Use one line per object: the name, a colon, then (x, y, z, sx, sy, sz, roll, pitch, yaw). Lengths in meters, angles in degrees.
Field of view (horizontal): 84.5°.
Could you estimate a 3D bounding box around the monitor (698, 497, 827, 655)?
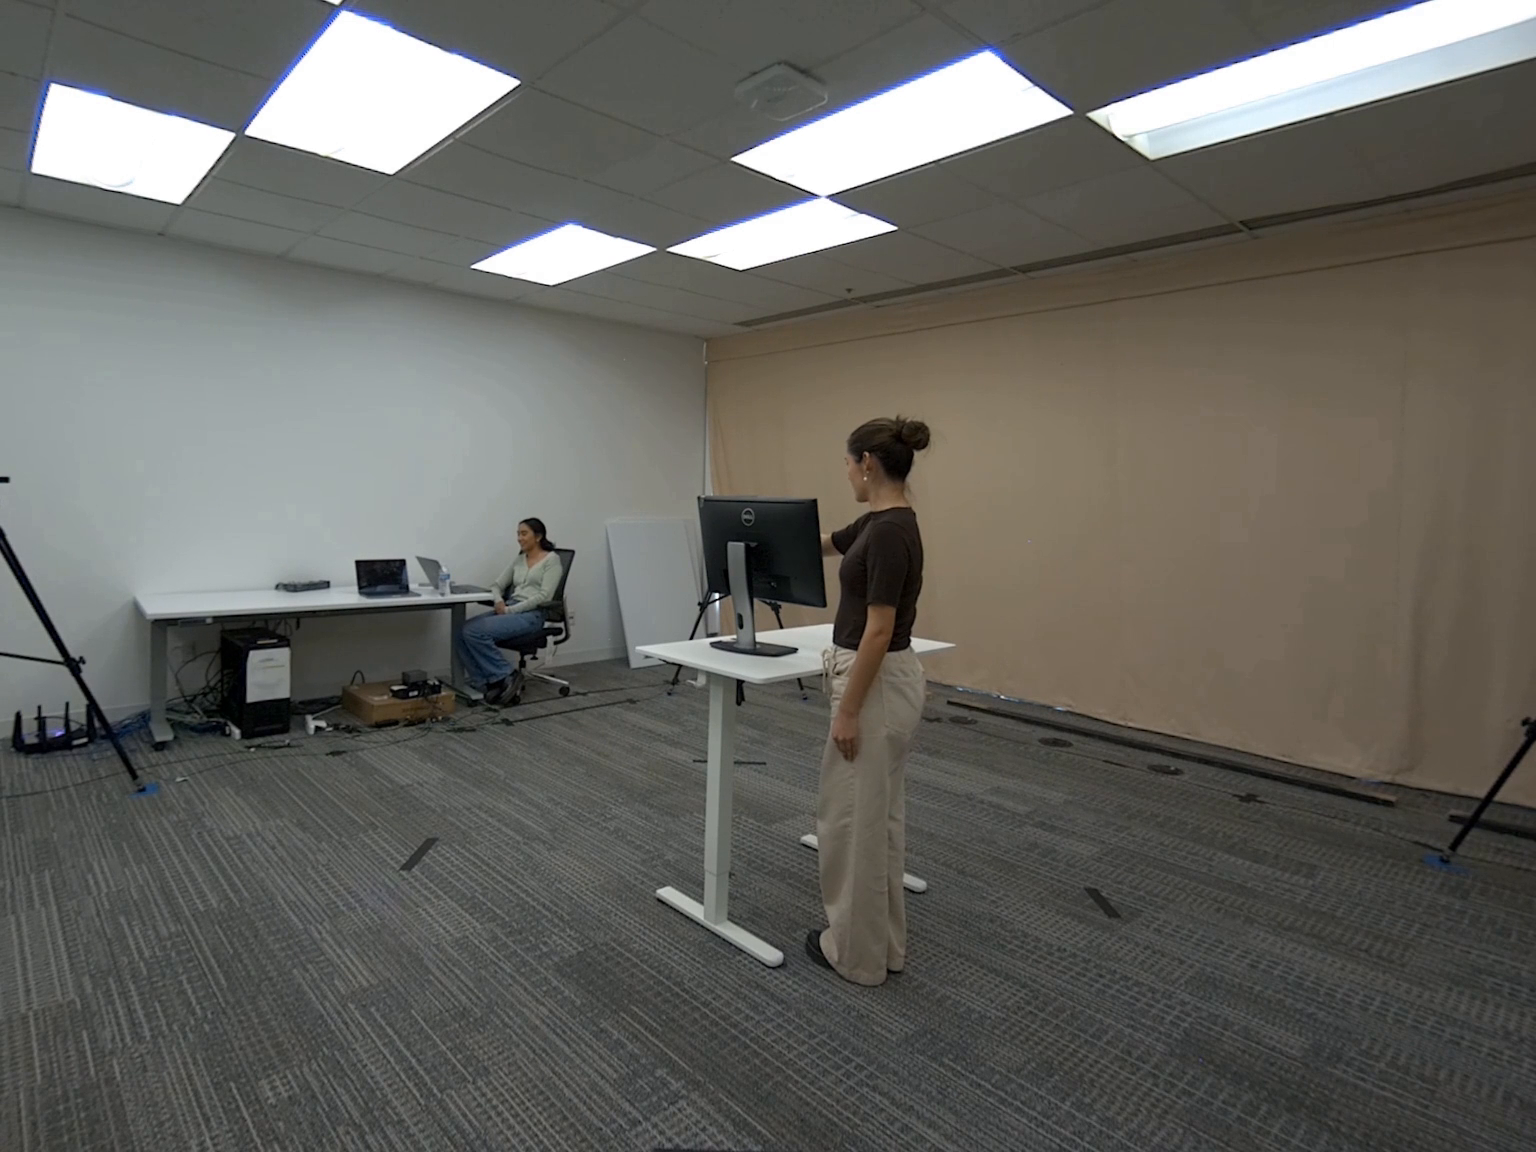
monitor: (-0.060, 0.000, 2.804, 0.553, 0.521, 0.183, 5, 4, 43)
